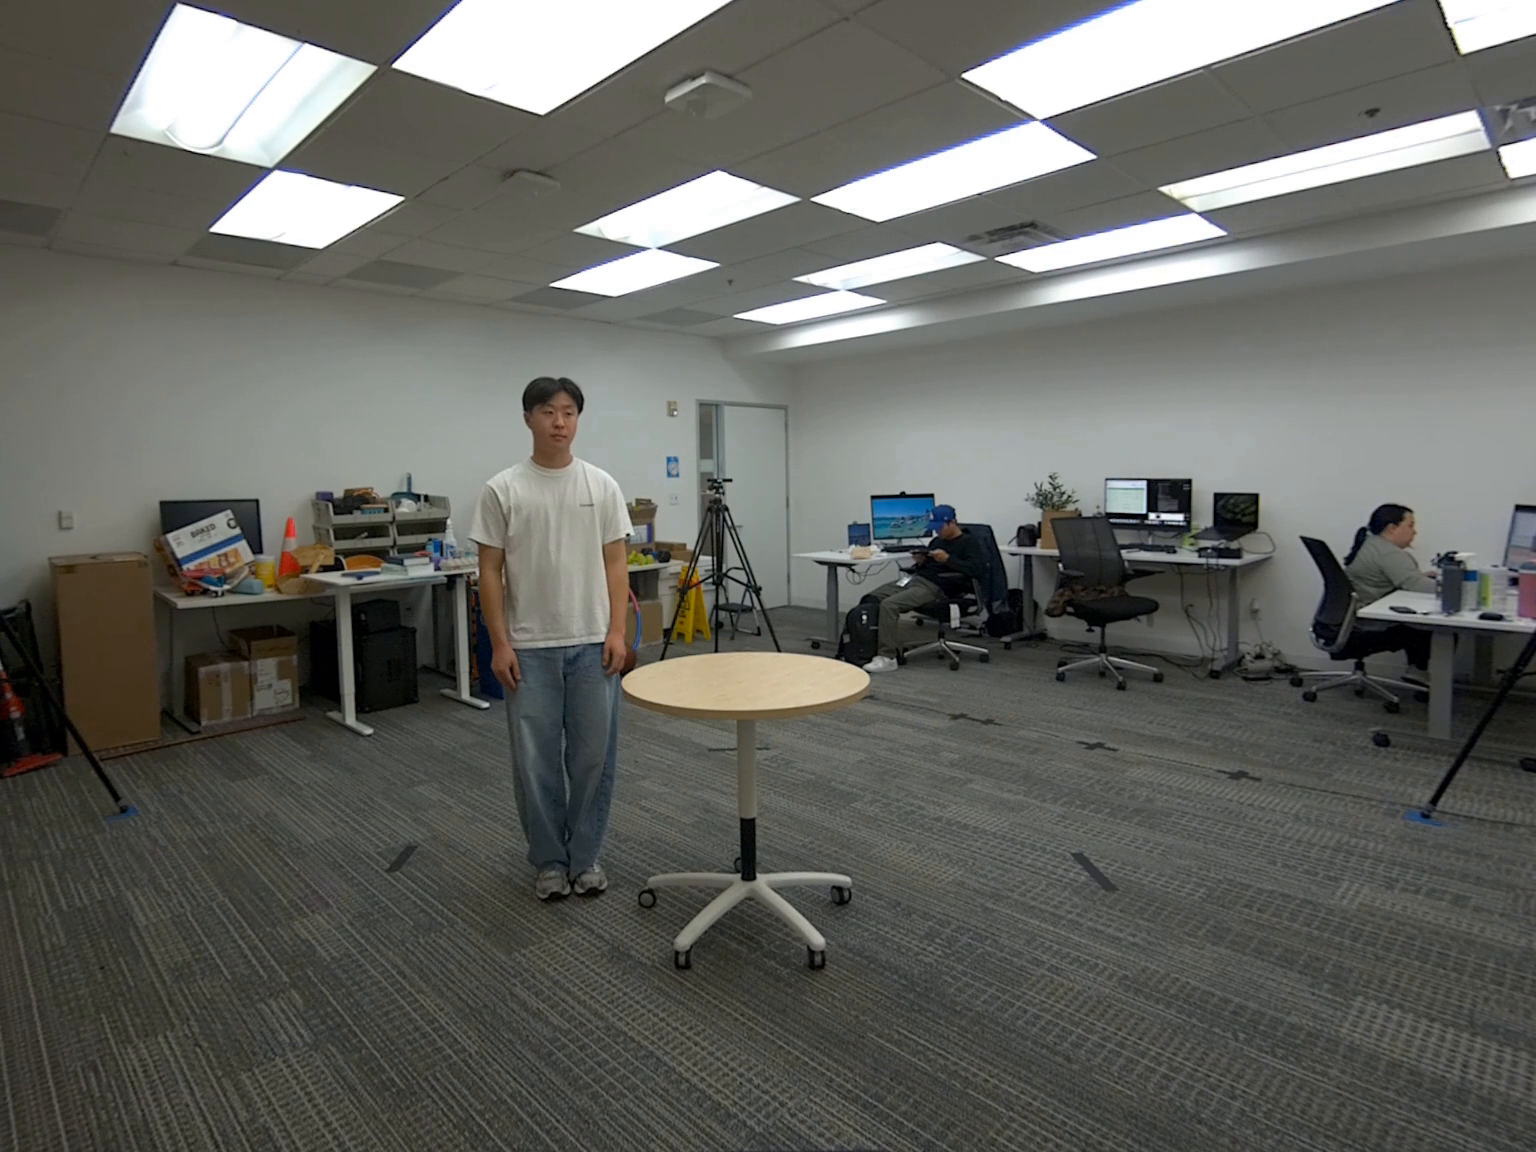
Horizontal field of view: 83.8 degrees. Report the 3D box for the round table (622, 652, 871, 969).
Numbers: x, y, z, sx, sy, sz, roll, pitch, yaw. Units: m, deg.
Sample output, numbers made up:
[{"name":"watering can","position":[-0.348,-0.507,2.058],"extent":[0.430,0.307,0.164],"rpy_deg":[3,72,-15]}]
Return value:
[{"name":"round table","position":[-0.058,0.701,2.689],"extent":[0.784,0.783,0.789],"rpy_deg":[-1,5,-2]}]
